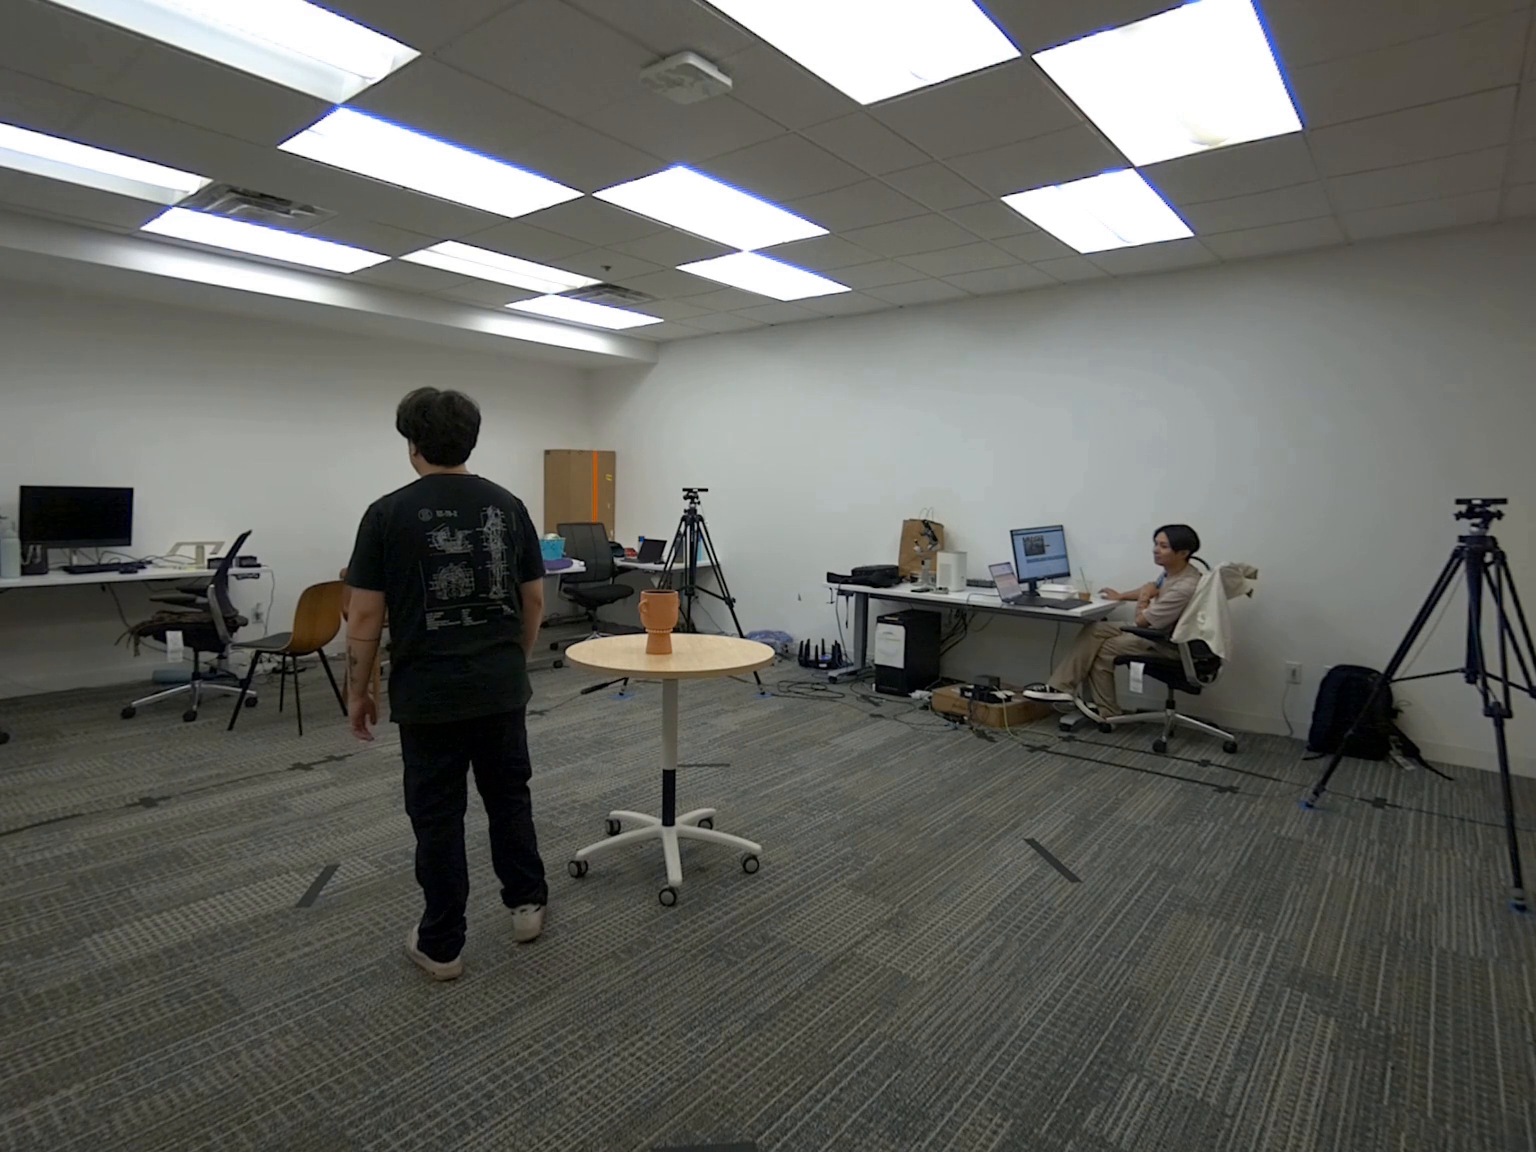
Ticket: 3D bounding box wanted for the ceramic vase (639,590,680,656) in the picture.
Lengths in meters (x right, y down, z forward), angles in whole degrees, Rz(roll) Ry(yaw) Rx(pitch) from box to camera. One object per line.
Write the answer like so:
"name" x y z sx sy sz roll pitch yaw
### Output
"ceramic vase" -0.411 0.167 3.079 0.157 0.219 0.136 -1 4 -10
